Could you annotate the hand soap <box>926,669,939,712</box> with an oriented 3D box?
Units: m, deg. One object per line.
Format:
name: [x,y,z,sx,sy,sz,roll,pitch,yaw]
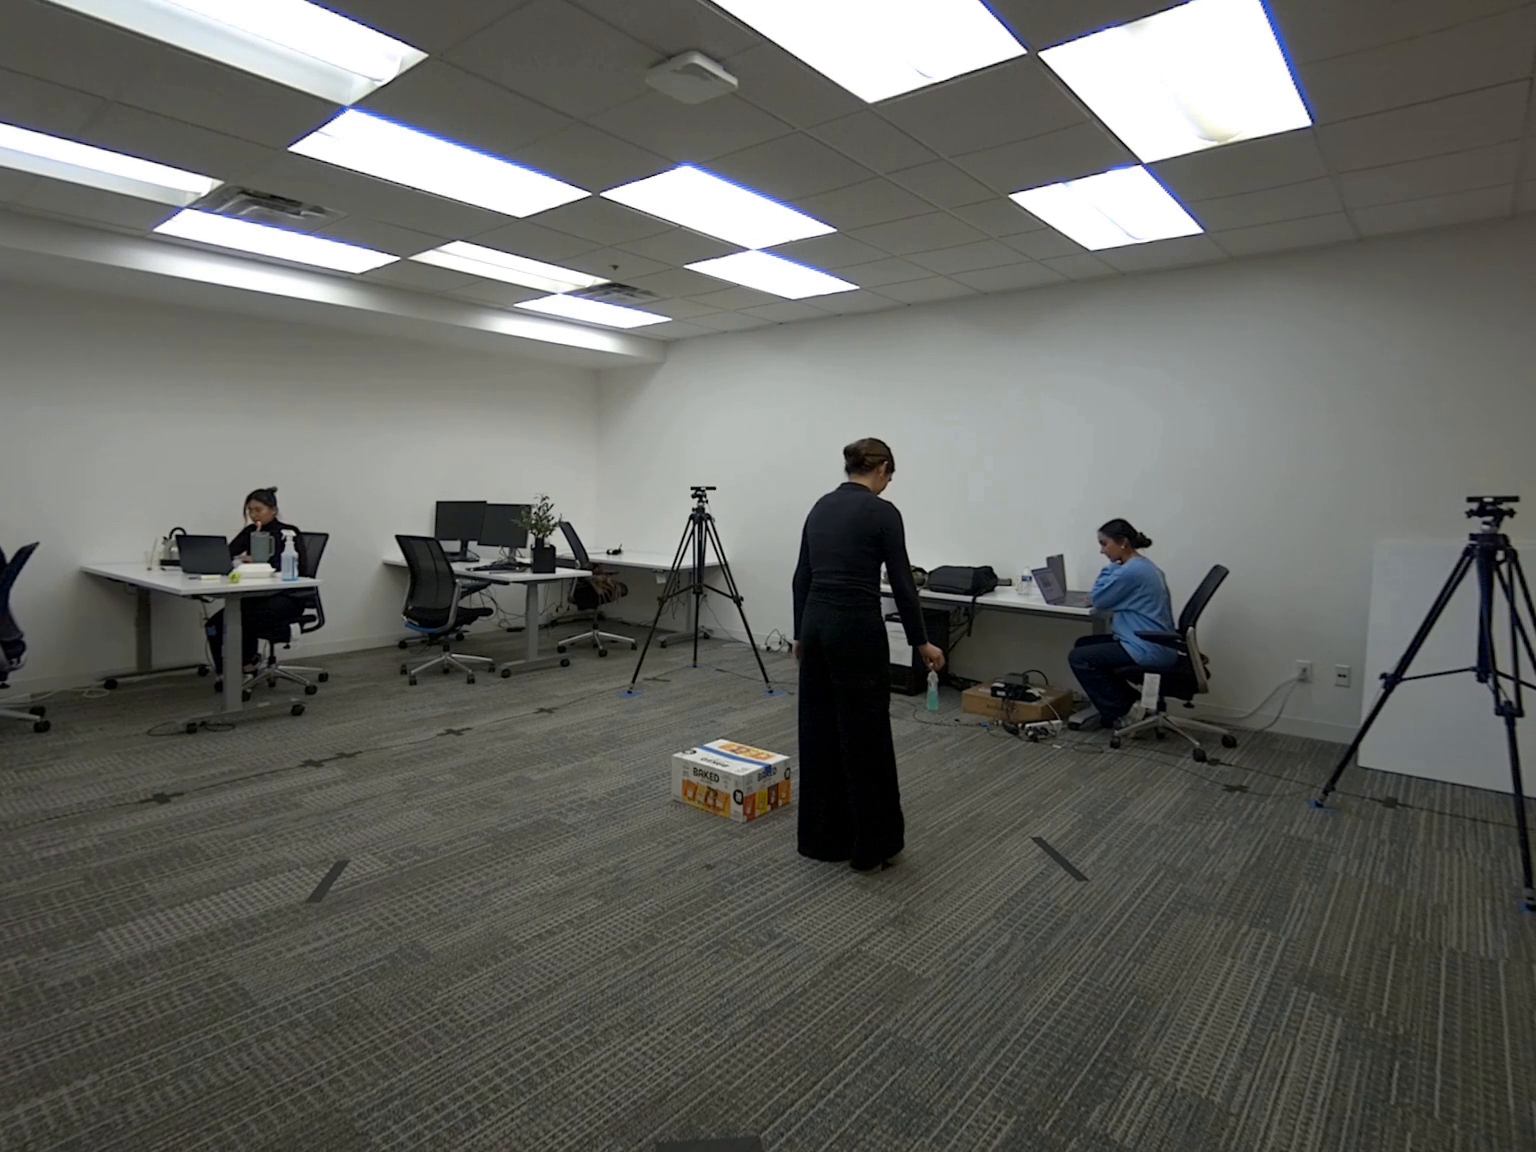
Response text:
hand soap: [0.617,0.415,3.211,0.043,0.168,0.084,-2,3,3]
